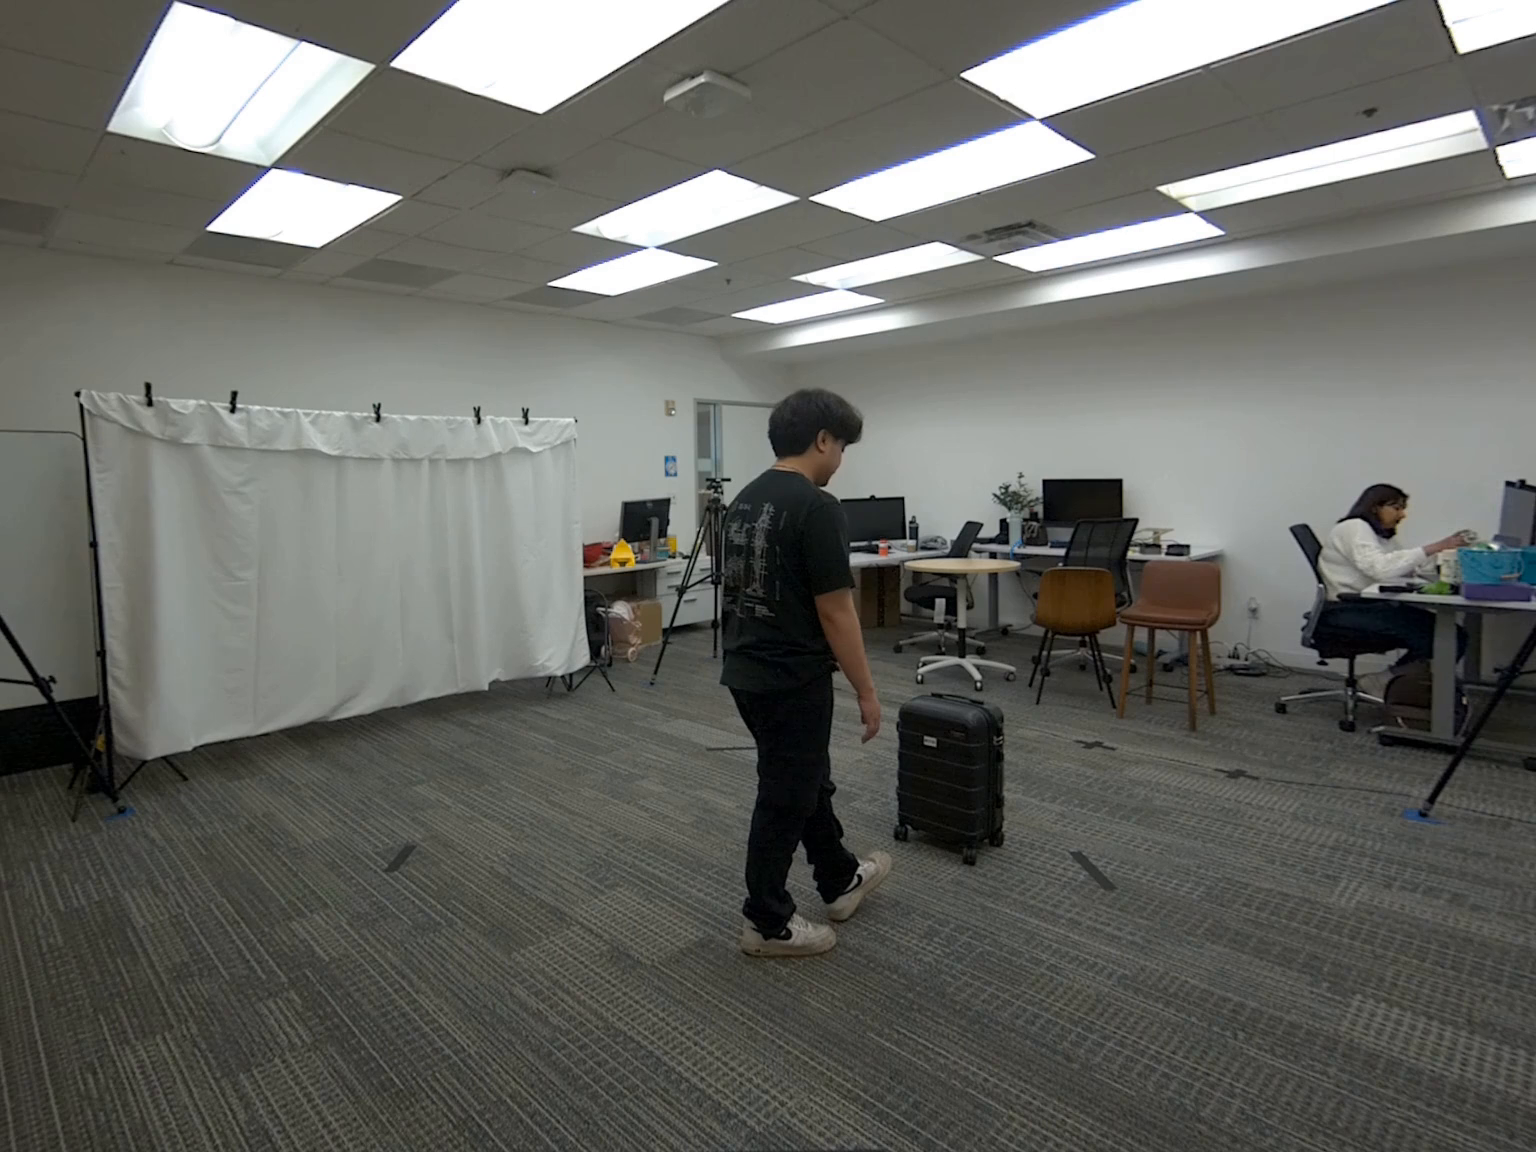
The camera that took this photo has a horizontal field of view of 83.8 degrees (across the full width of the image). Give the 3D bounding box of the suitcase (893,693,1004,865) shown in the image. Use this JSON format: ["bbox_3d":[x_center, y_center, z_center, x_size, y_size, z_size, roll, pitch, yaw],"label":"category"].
[{"bbox_3d":[0.701,0.738,3.249,0.387,0.548,0.241,3,4,44],"label":"suitcase"}]
